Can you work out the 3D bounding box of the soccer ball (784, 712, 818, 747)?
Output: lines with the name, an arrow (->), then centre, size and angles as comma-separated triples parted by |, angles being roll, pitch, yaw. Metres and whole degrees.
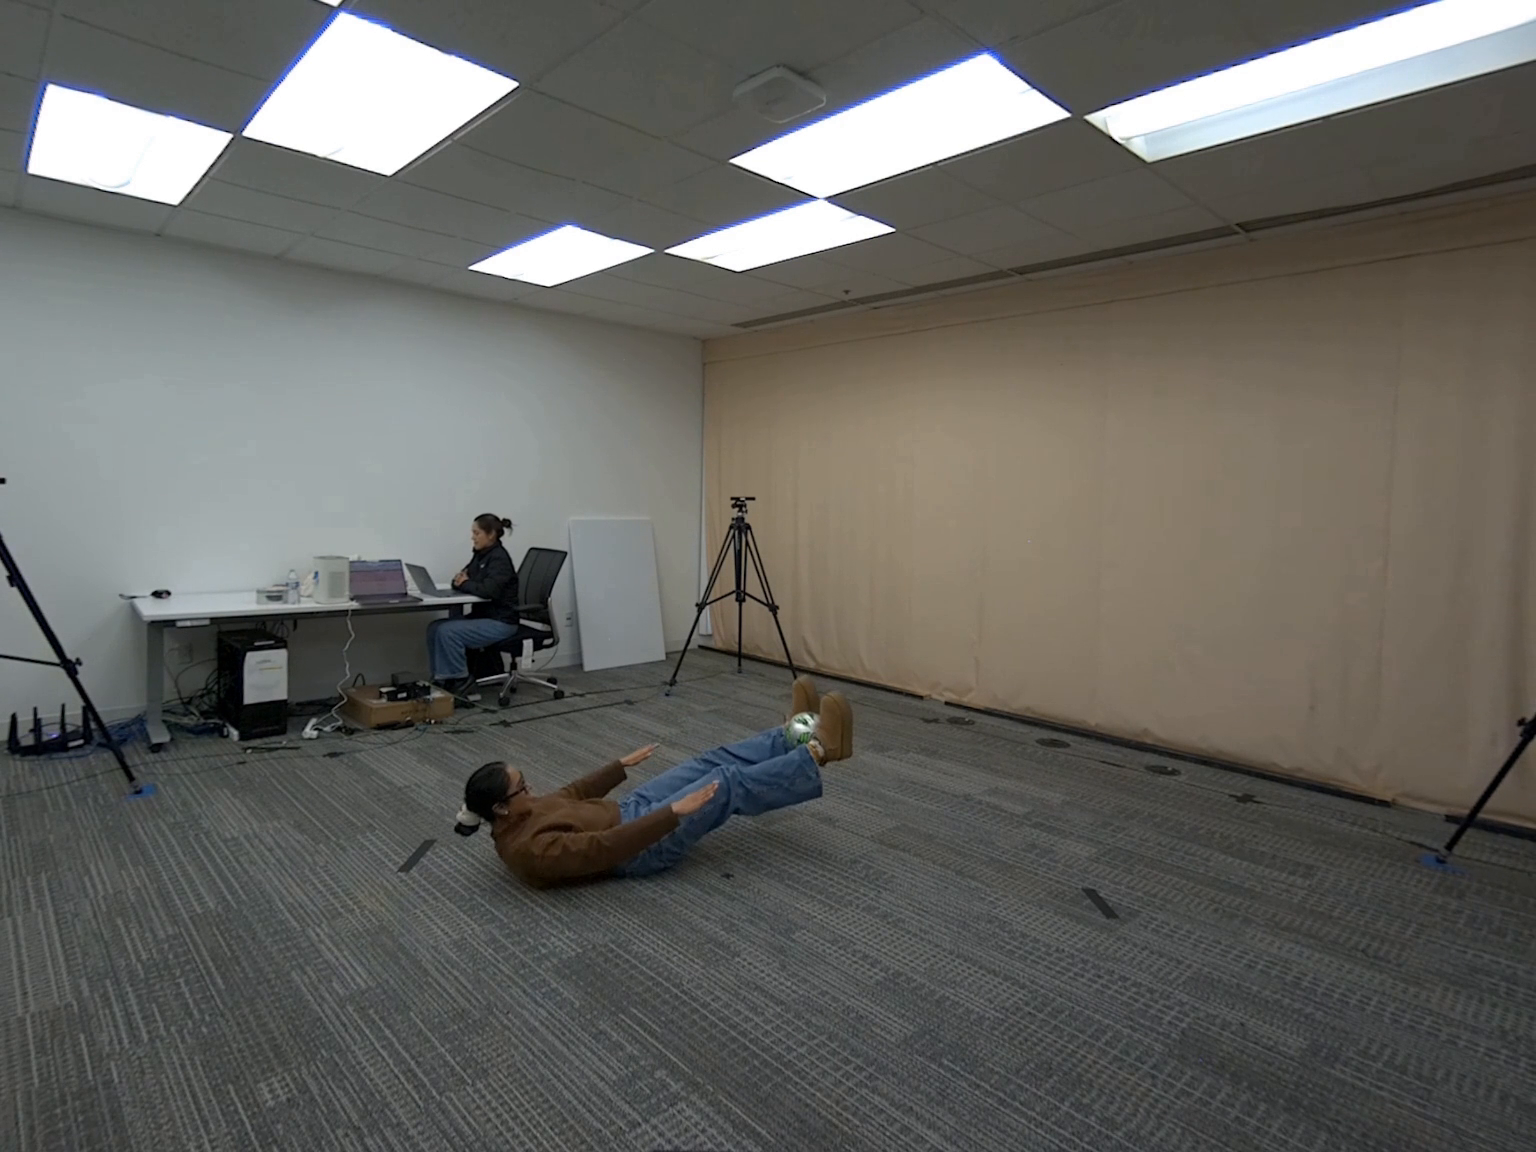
soccer ball -> 0.151, 0.657, 3.464 | 0.187, 0.187, 0.188 | 1, 4, -1
